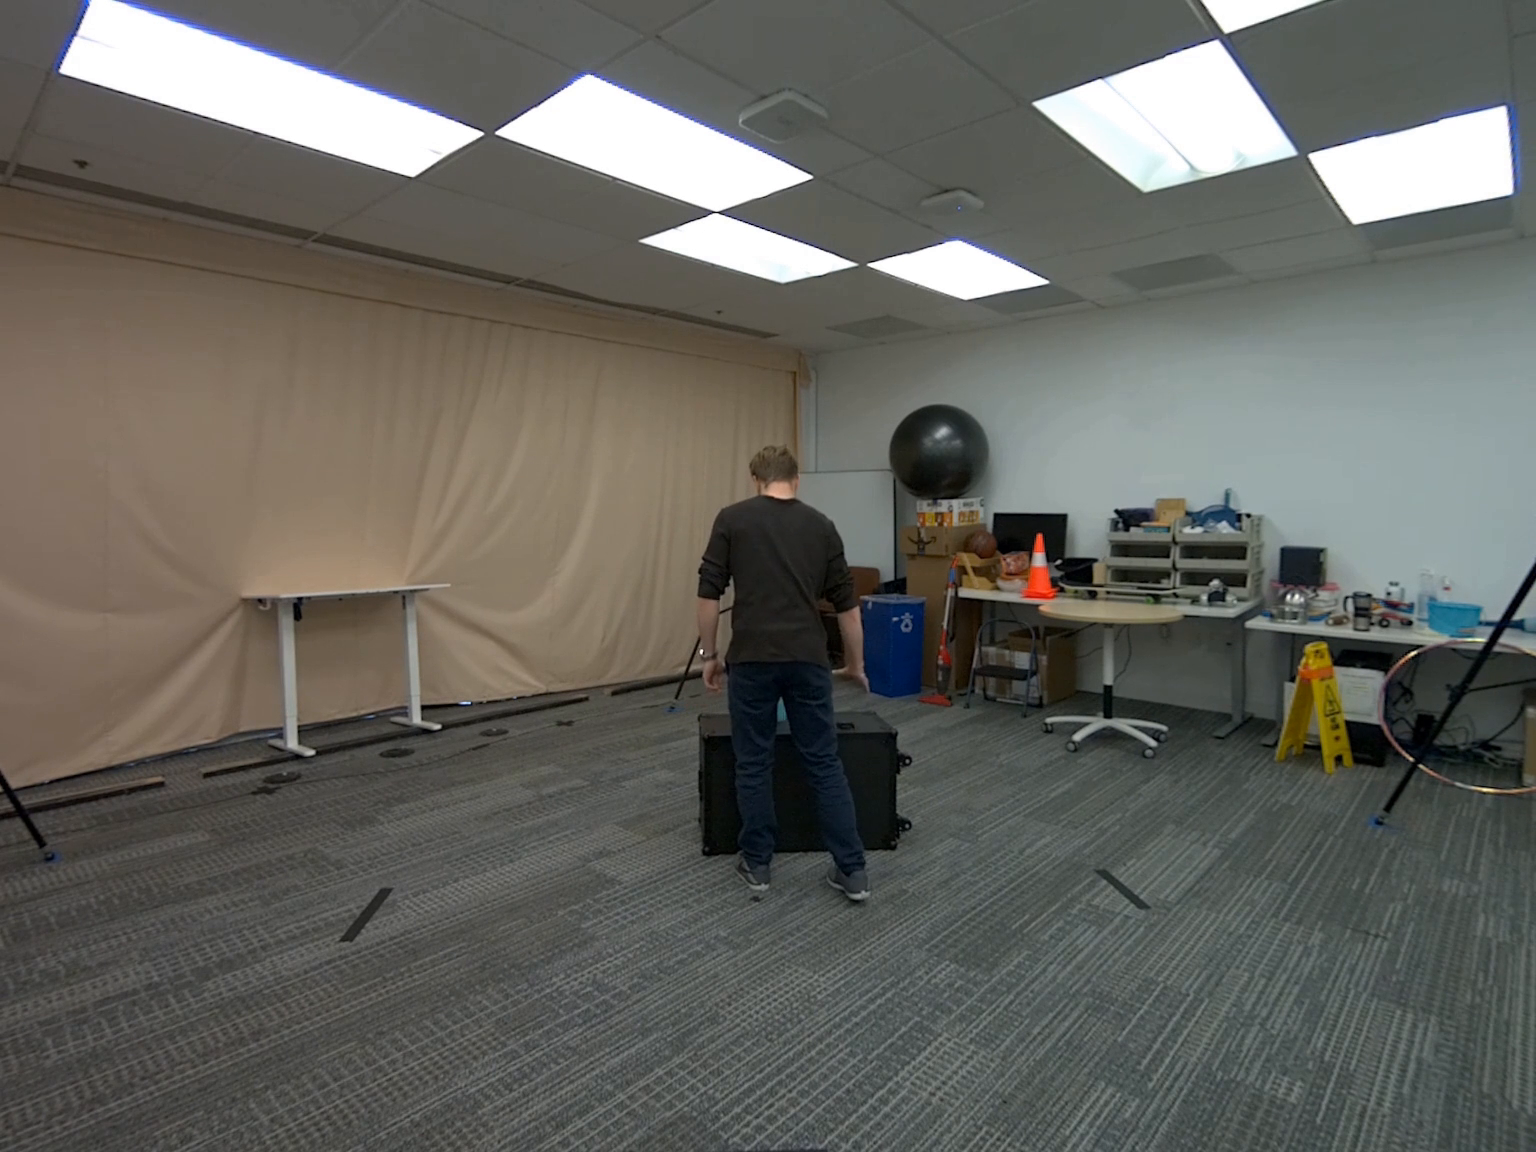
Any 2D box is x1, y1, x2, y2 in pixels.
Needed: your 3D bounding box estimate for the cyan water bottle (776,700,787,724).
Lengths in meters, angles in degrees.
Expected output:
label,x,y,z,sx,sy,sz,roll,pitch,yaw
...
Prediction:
label,x,y,z,sx,sy,sz,roll,pitch,yaw
cyan water bottle,0.038,0.469,3.592,0.092,0.283,0.092,1,2,-2
